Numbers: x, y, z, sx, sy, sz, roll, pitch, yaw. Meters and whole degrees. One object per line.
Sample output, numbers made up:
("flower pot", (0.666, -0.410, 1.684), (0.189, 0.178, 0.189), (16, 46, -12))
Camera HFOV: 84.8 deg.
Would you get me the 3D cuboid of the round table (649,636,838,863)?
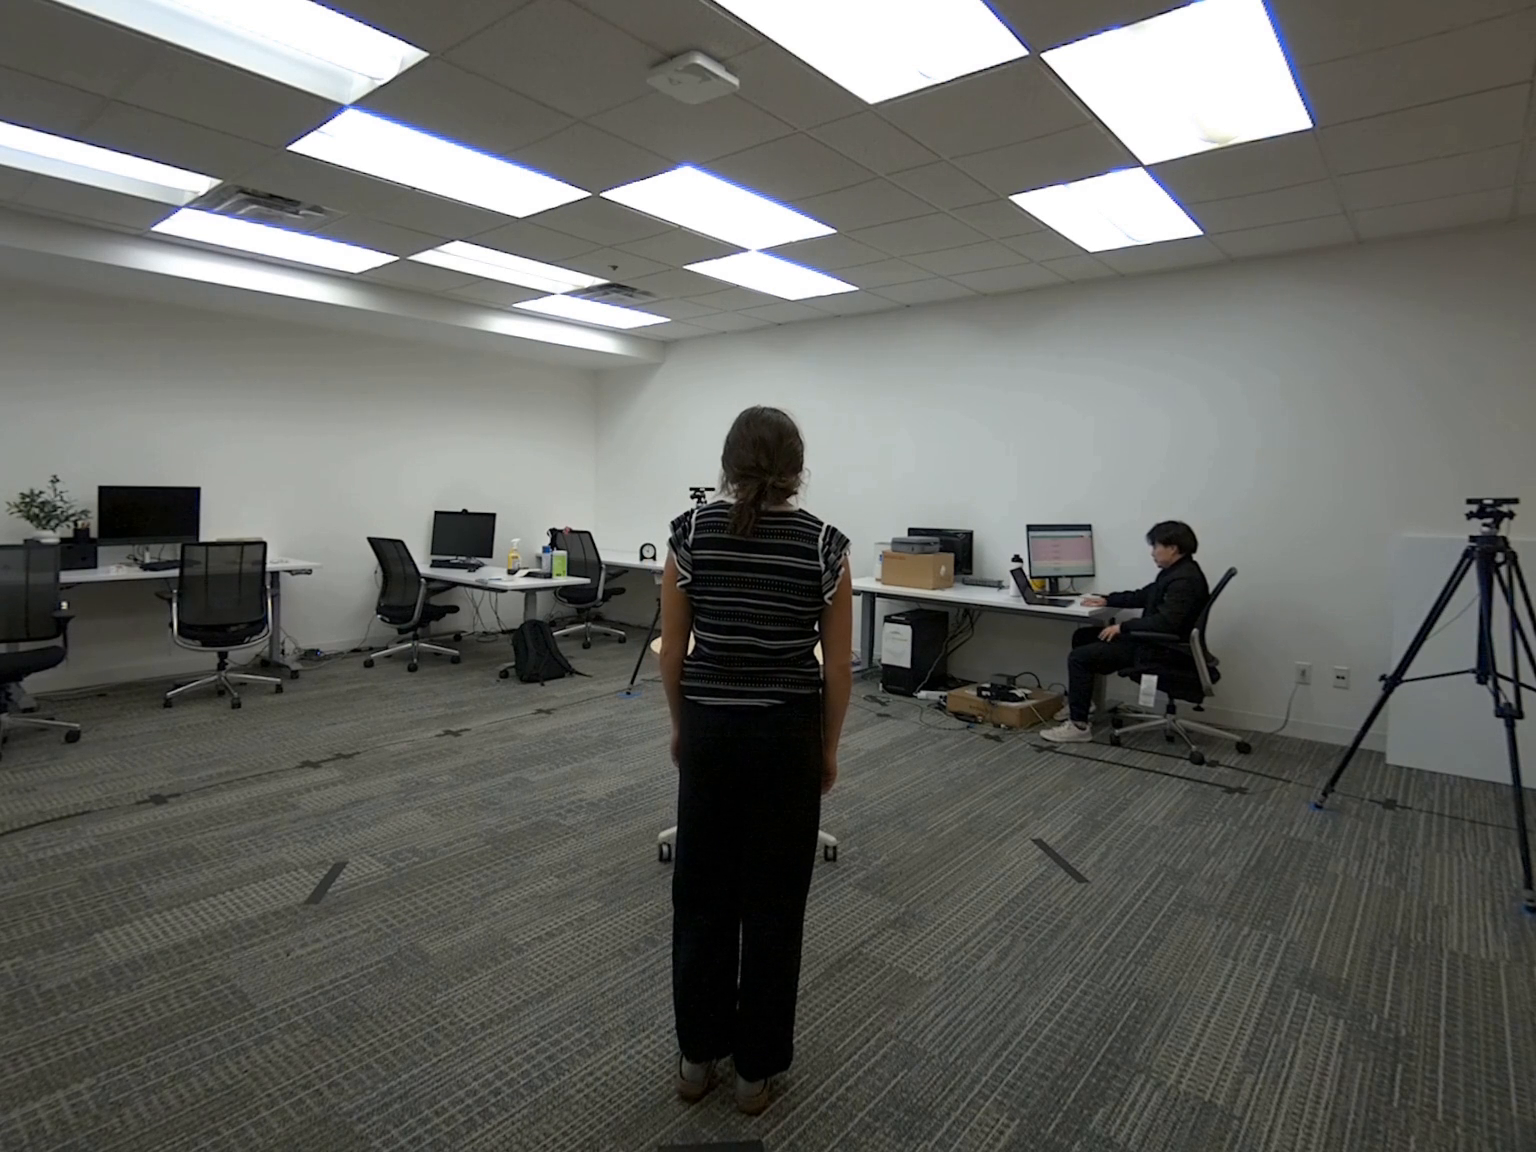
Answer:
("round table", (-0.102, 0.654, 3.274), (0.784, 0.784, 0.789), (1, 4, -2))
